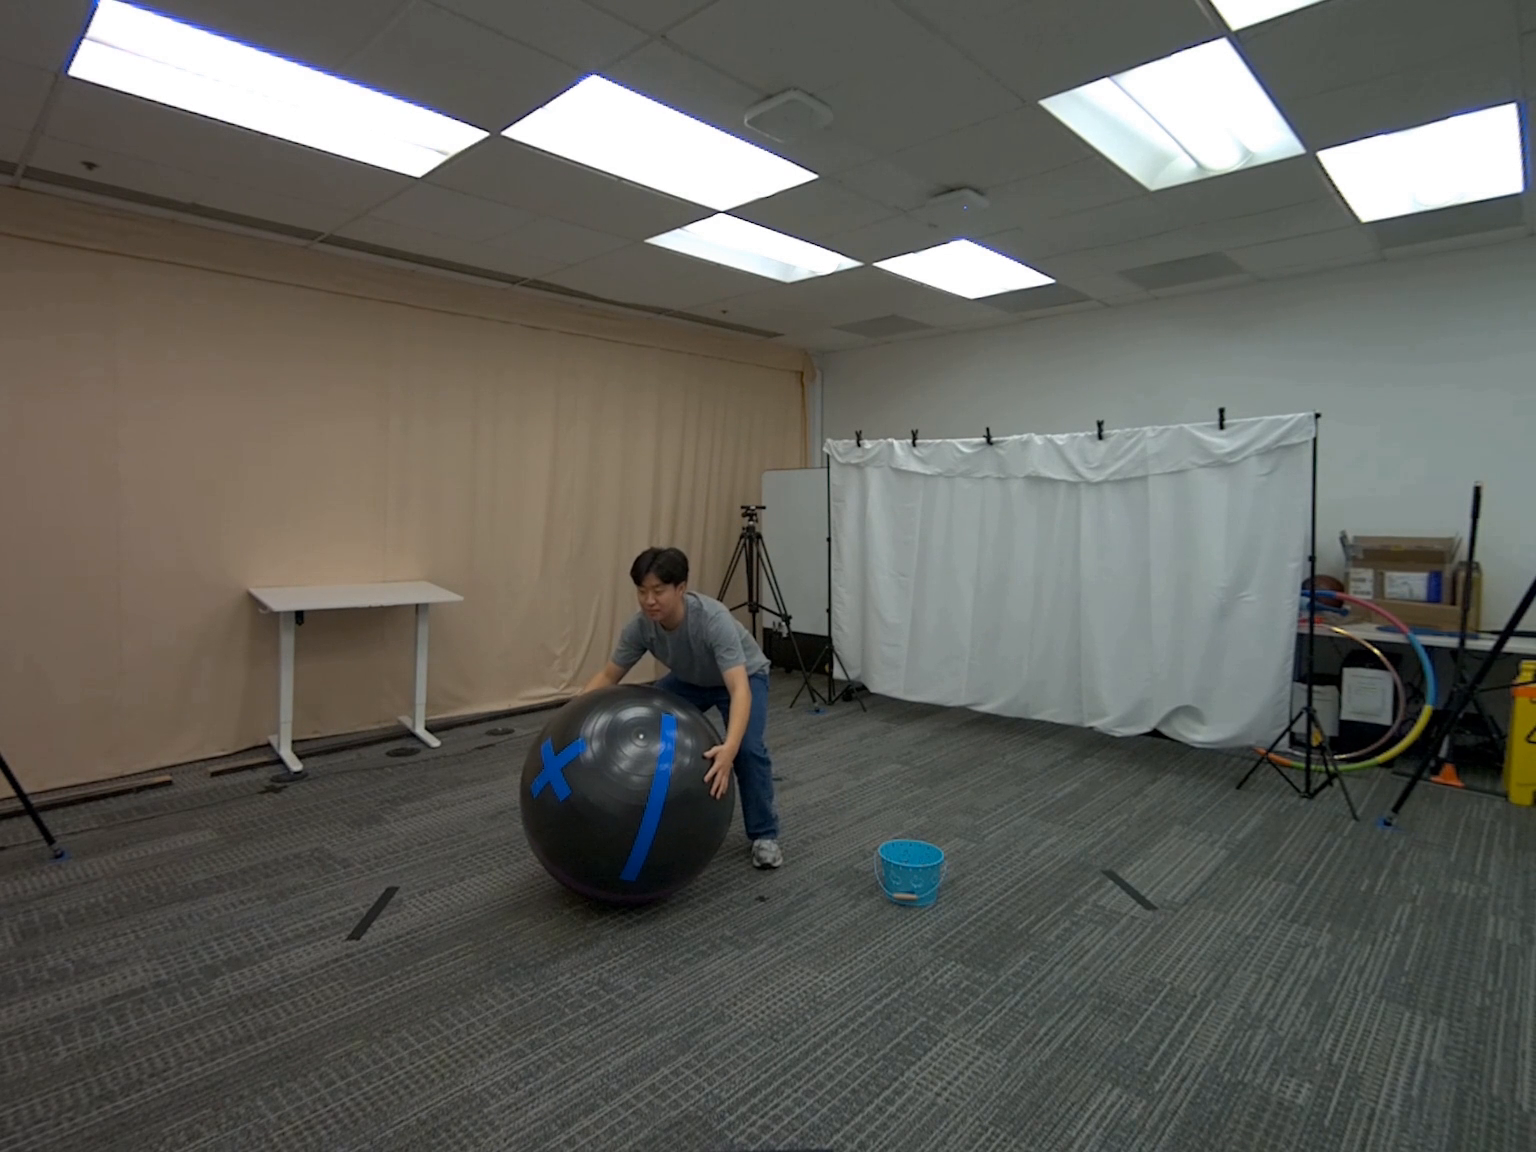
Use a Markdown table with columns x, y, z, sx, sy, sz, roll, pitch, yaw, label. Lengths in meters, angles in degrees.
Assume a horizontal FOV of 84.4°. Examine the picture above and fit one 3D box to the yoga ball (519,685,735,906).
| x | y | z | sx | sy | sz | roll | pitch | yaw | label |
| --- | --- | --- | --- | --- | --- | --- | --- | --- | --- |
| -0.502 | 0.762 | 3.004 | 0.757 | 0.756 | 0.760 | 0 | 4 | -2 | yoga ball |
